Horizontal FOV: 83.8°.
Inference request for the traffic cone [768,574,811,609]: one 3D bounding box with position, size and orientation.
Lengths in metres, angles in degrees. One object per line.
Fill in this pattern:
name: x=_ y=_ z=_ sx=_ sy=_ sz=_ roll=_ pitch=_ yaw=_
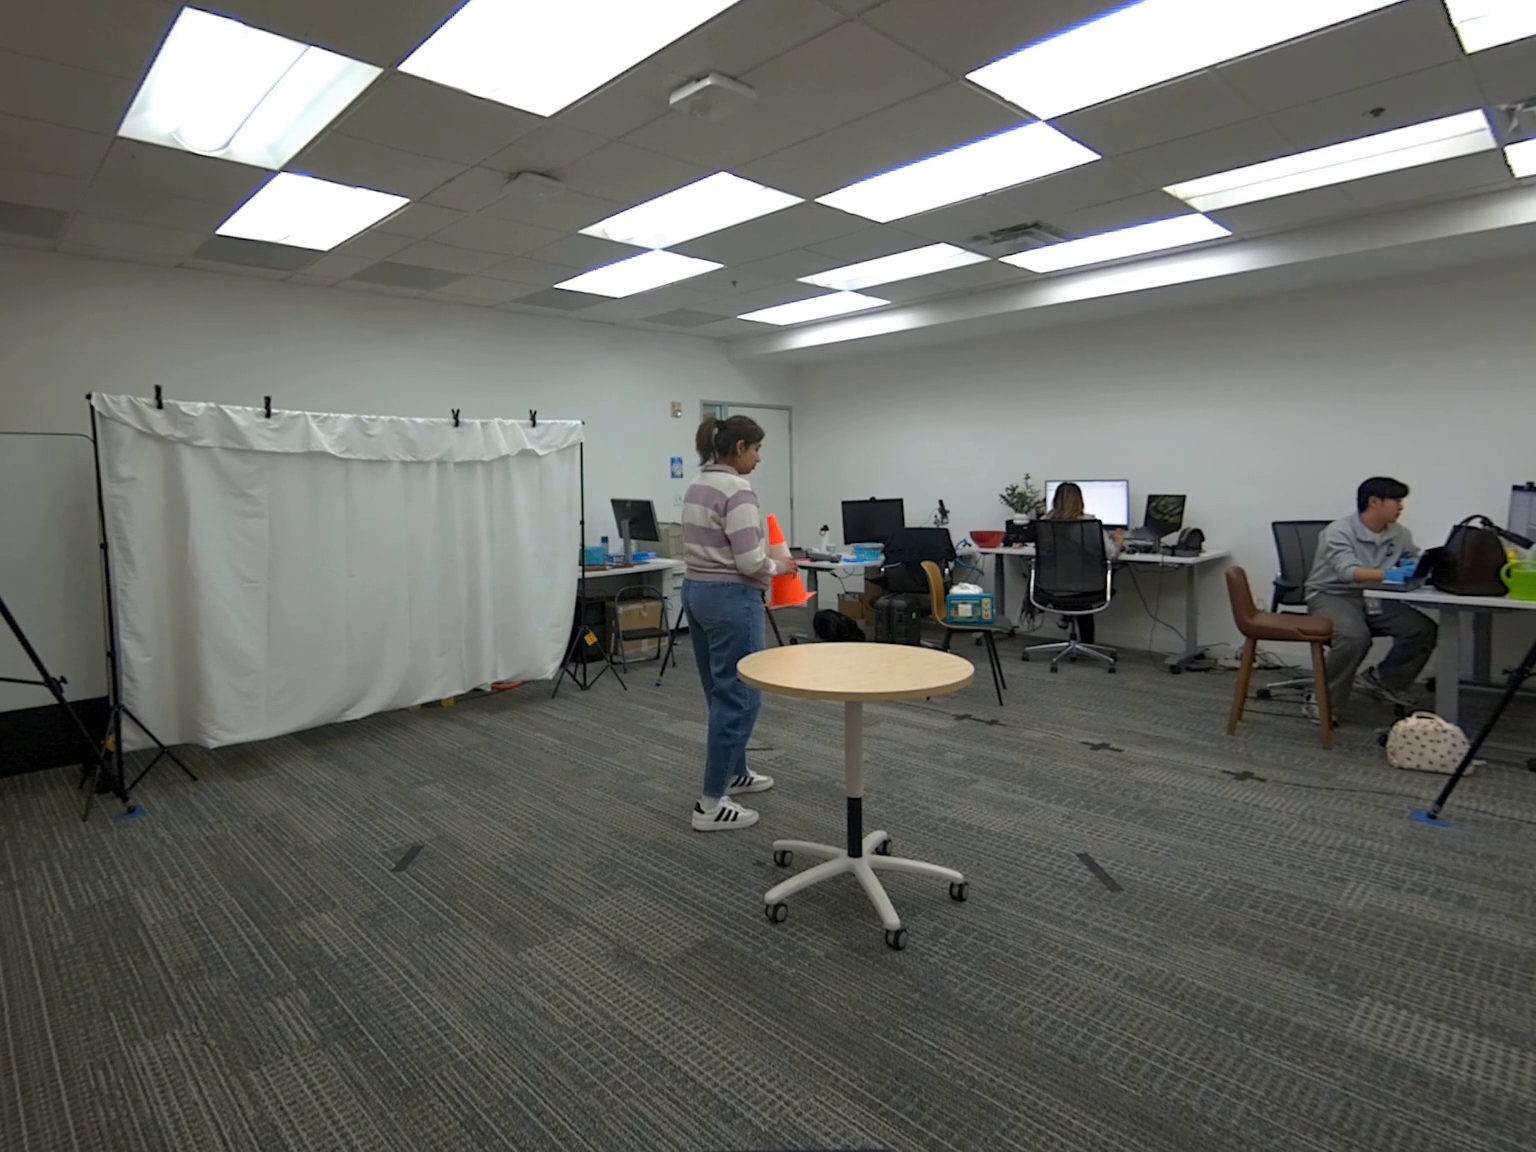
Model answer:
traffic cone: x=0.044 y=-0.074 z=3.723 sx=0.205 sy=0.380 sz=0.205 roll=-11 pitch=8 yaw=11
